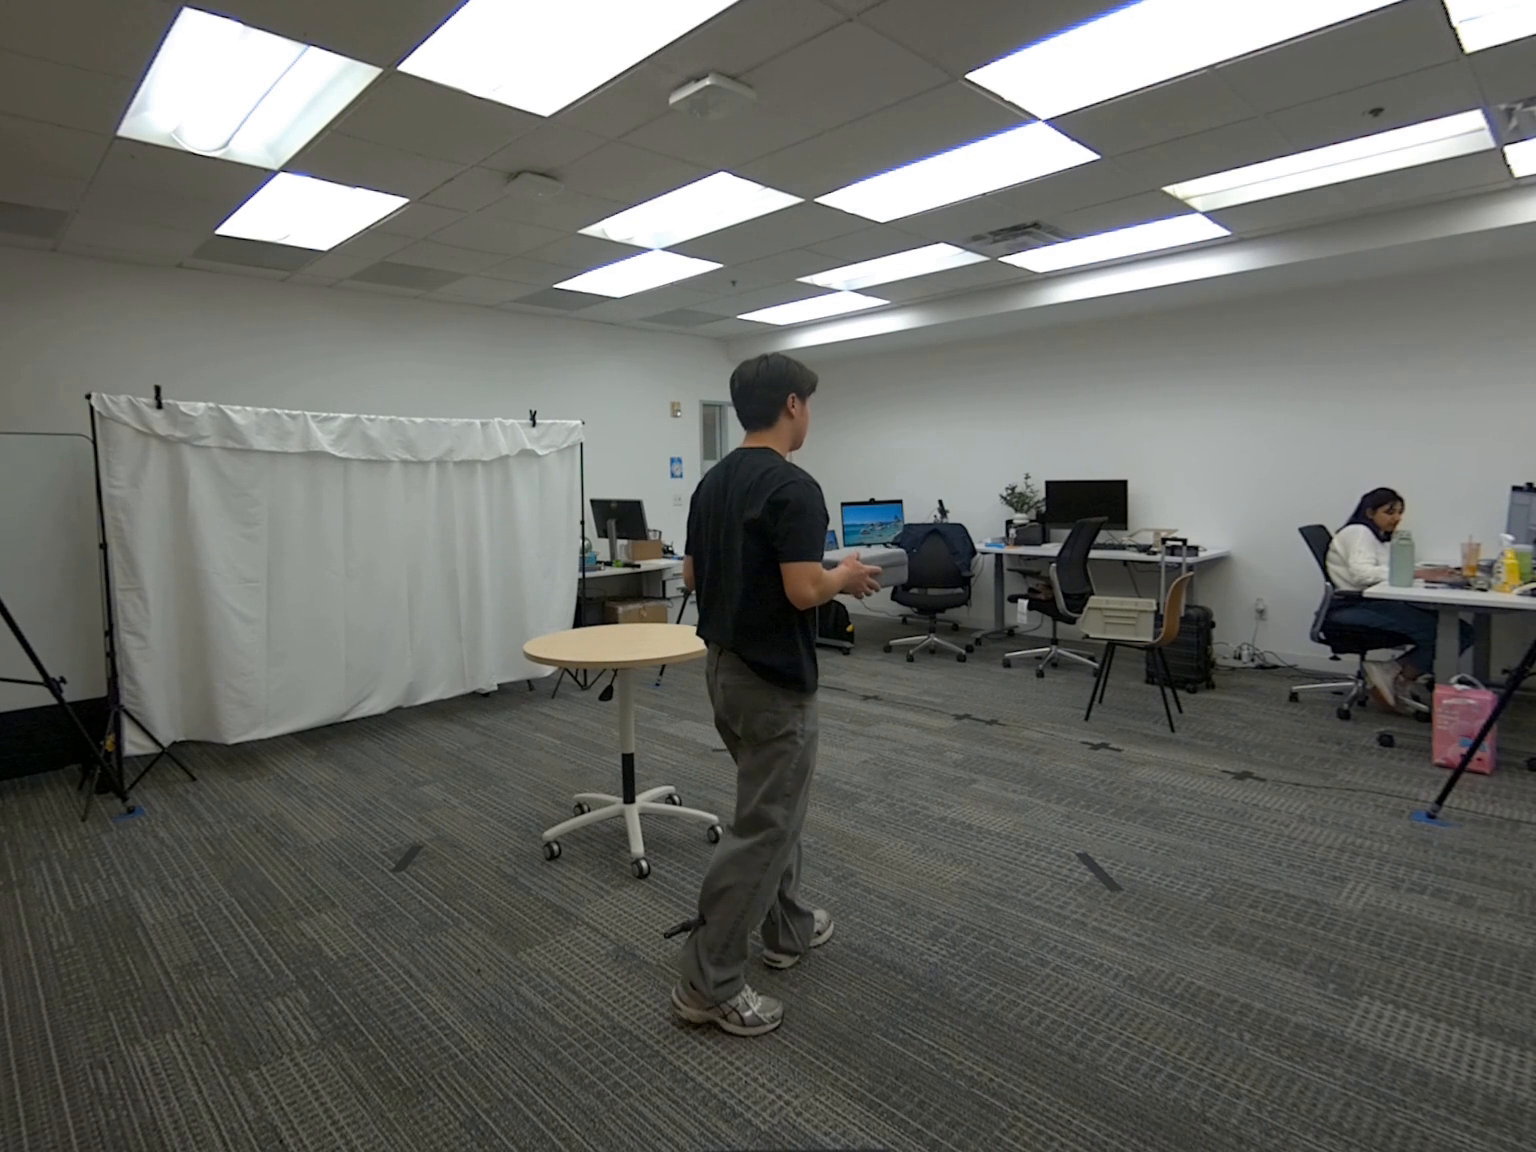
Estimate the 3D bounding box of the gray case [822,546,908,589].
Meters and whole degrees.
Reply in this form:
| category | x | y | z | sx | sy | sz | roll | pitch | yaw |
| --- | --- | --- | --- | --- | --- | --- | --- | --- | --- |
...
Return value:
| category | x | y | z | sx | sy | sz | roll | pitch | yaw |
| --- | --- | --- | --- | --- | --- | --- | --- | --- | --- |
| gray case | 0.230 | -0.024 | 2.503 | 0.282 | 0.102 | 0.269 | -7 | 7 | -23 |
